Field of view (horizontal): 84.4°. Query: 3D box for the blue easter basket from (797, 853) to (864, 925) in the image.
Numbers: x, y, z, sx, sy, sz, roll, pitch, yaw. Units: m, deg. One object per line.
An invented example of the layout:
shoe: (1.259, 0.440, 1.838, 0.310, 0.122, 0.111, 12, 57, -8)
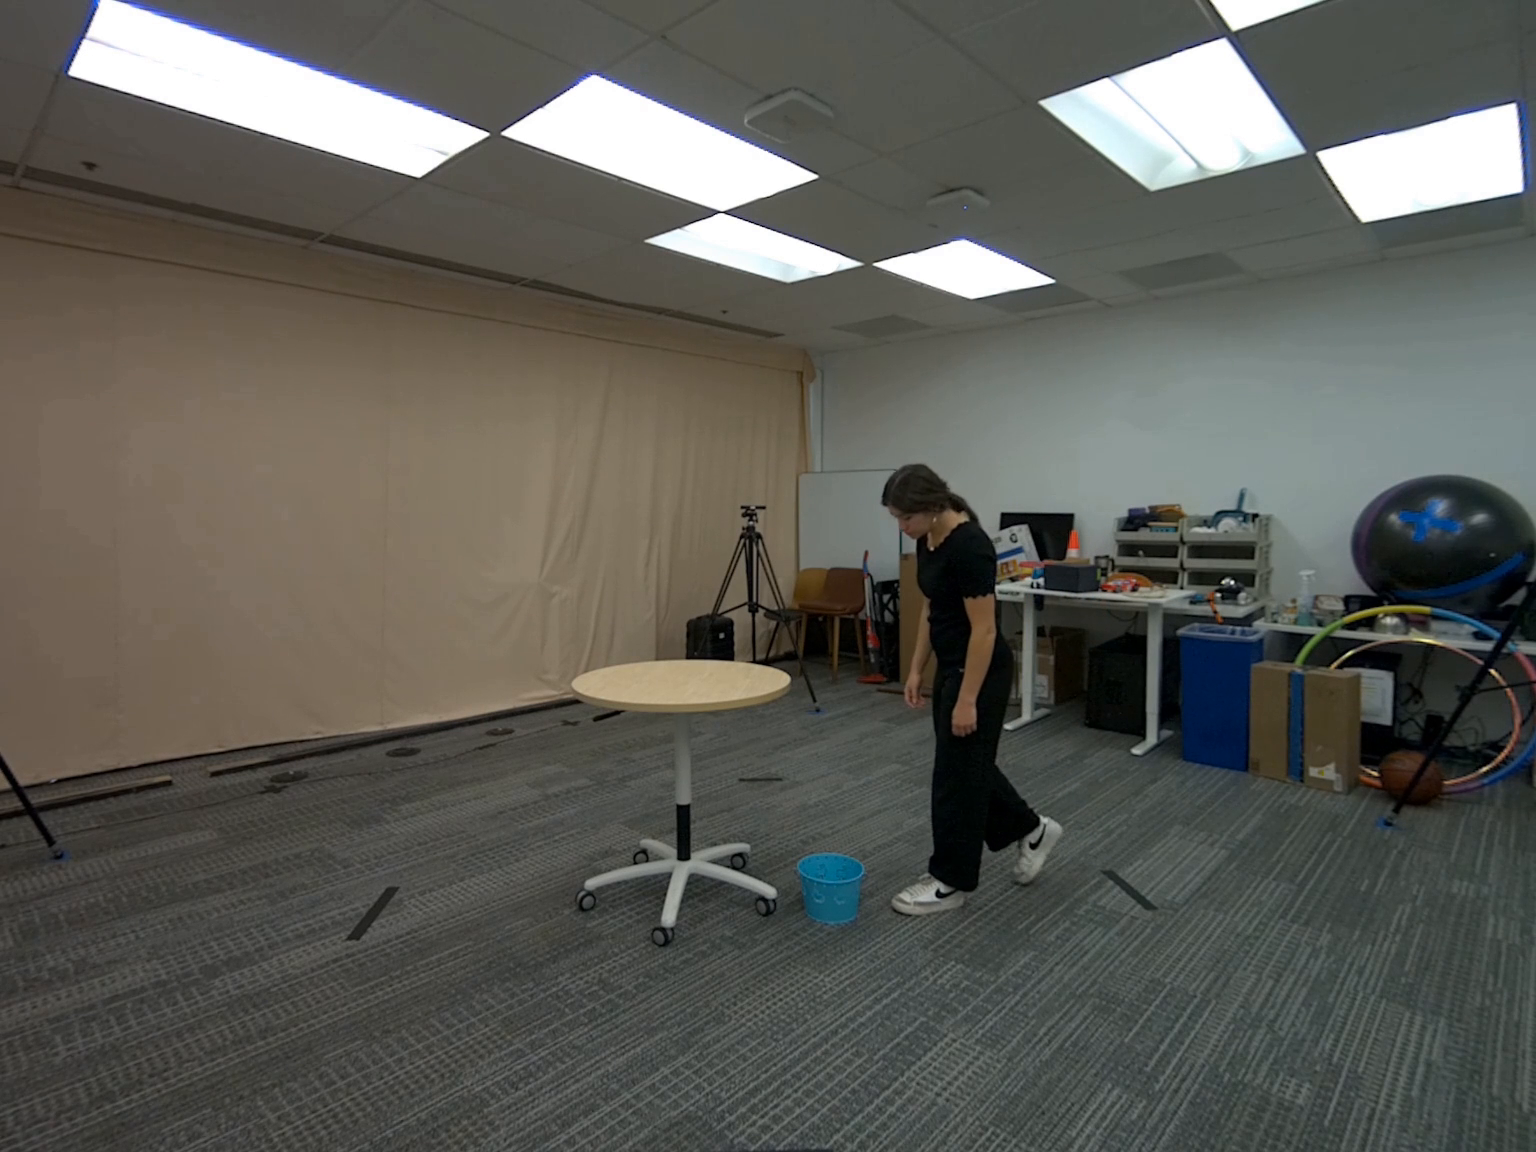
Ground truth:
blue easter basket: (0.225, 1.077, 2.890, 0.243, 0.155, 0.244, 0, 4, -2)
